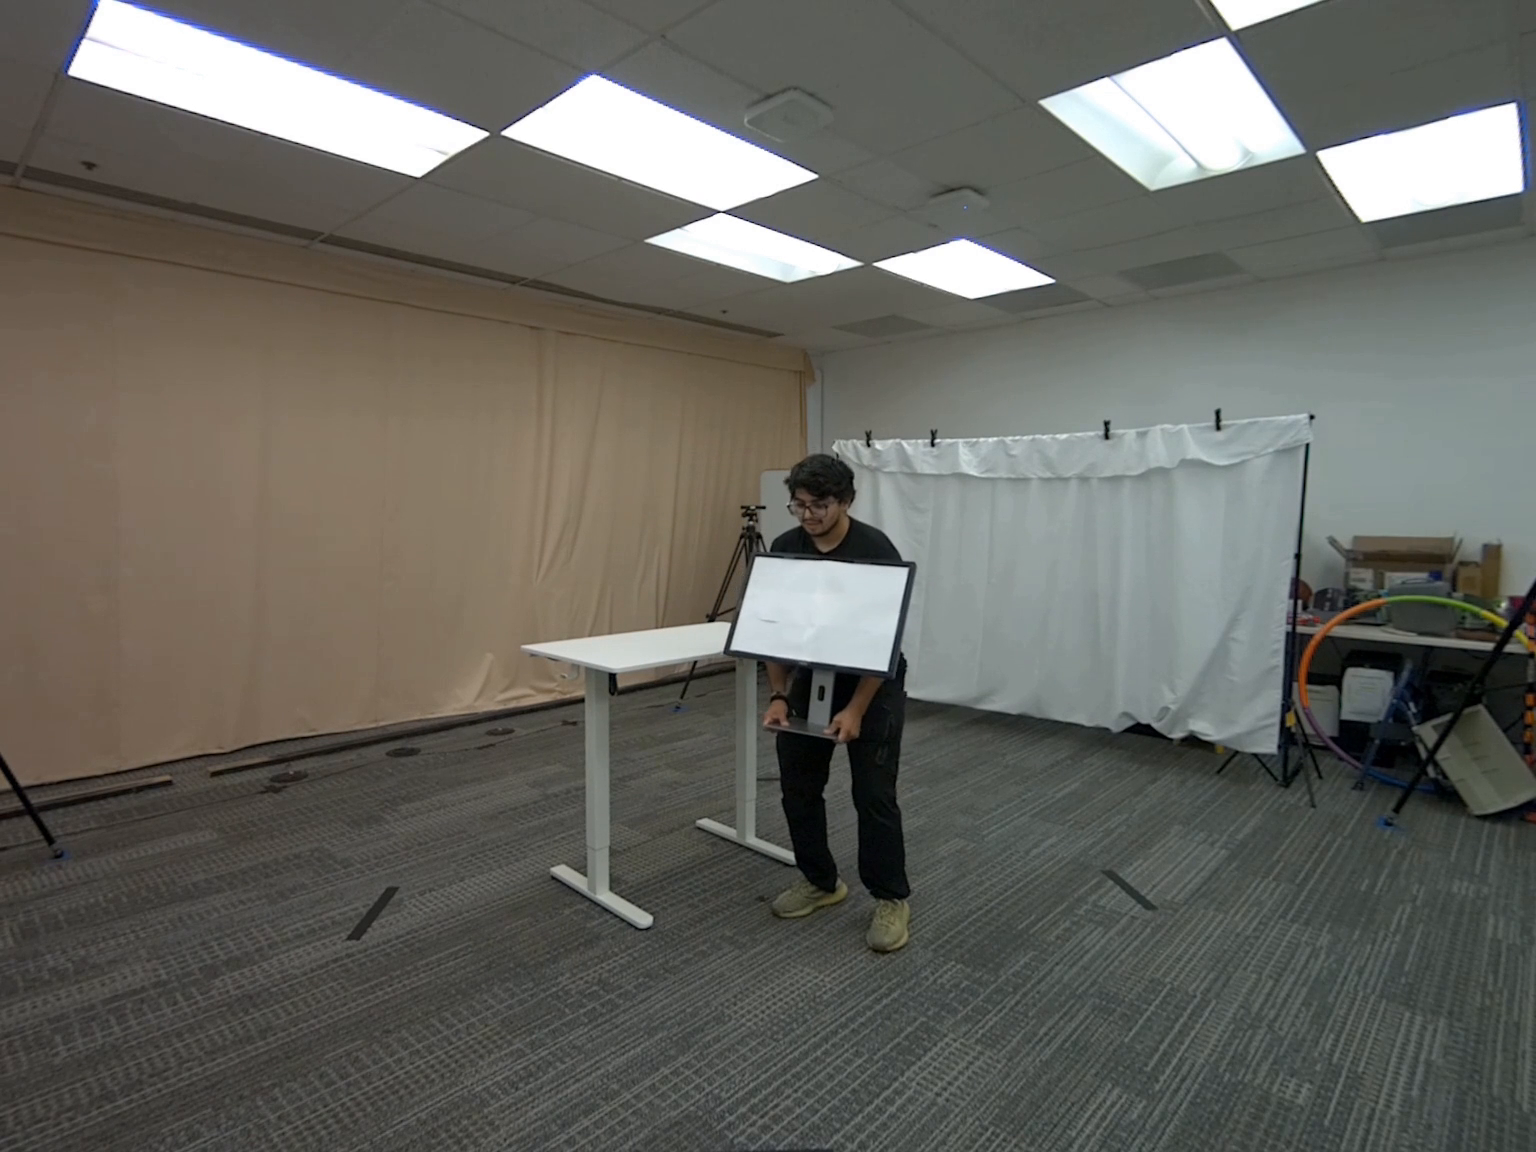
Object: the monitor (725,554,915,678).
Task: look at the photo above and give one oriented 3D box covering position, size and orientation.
[{"bbox_3d":[0.168,0.217,2.631,0.582,0.557,0.203,4,-17,31],"label":"monitor"}]
